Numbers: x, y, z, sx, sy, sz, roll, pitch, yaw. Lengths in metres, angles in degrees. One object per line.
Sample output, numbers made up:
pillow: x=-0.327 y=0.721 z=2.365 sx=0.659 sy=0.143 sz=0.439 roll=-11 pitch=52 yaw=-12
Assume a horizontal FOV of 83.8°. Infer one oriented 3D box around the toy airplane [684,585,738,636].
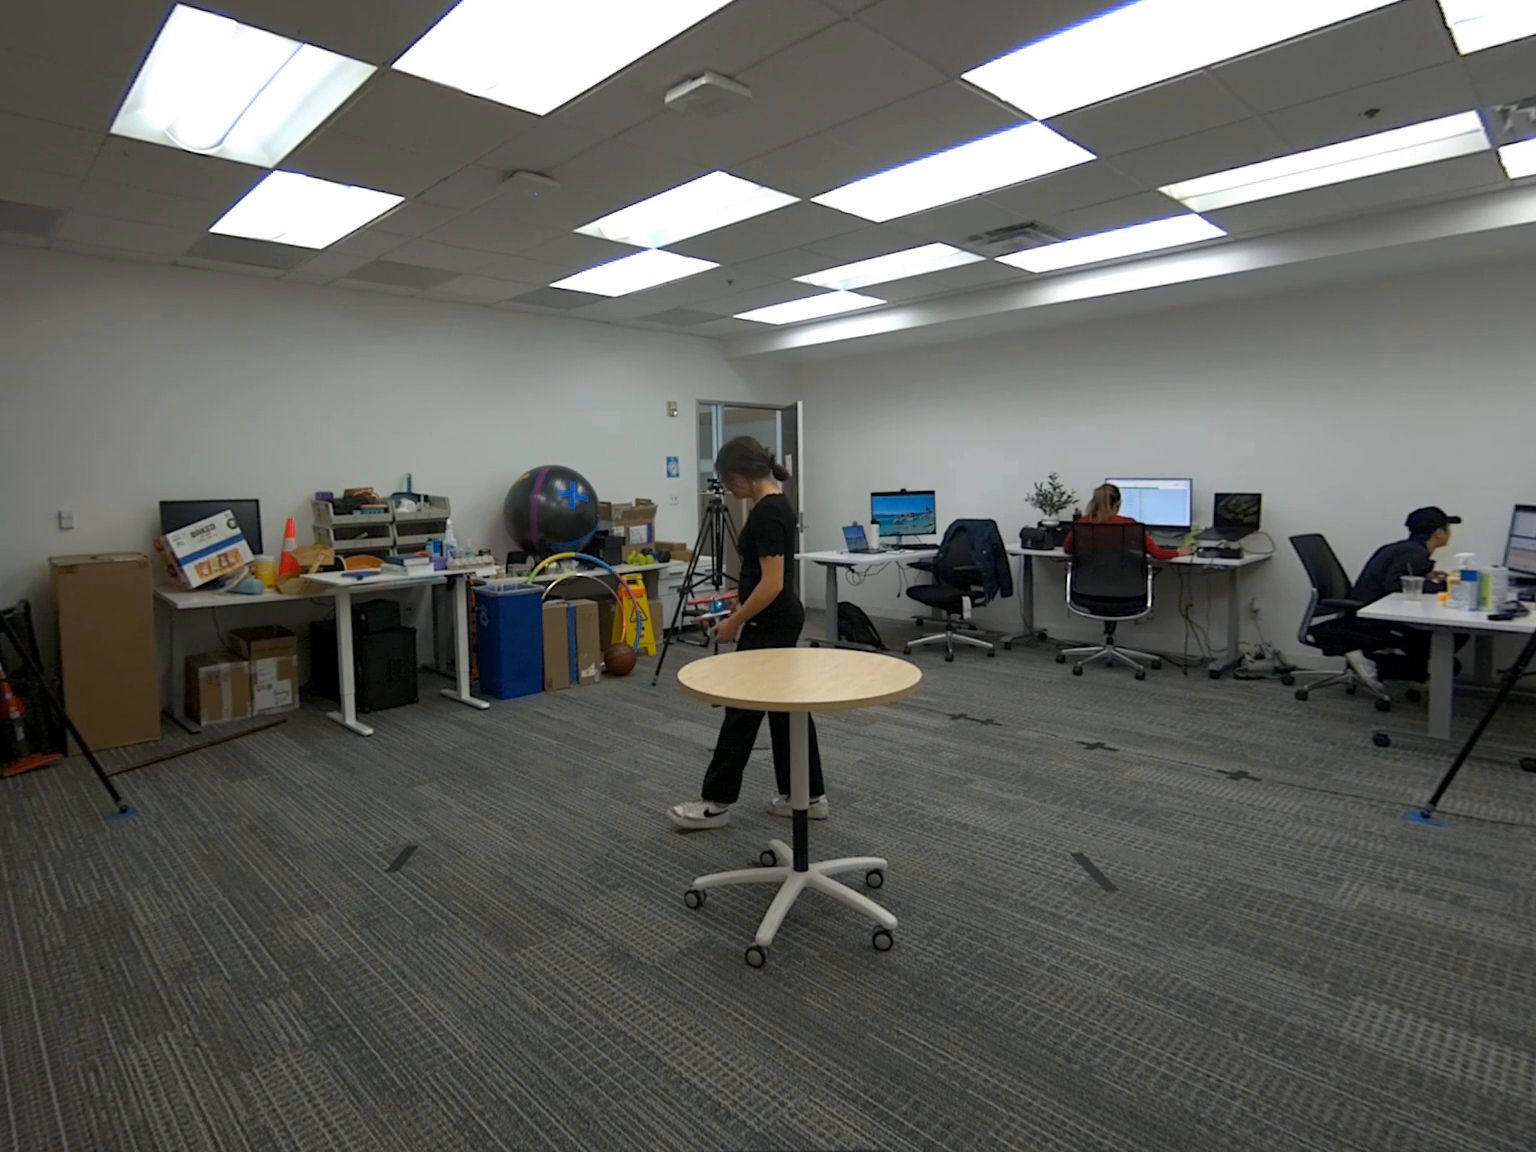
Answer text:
toy airplane: x=-0.186 y=0.139 z=3.546 sx=0.247 sy=0.158 sz=0.261 roll=-5 pitch=-9 yaw=-20
